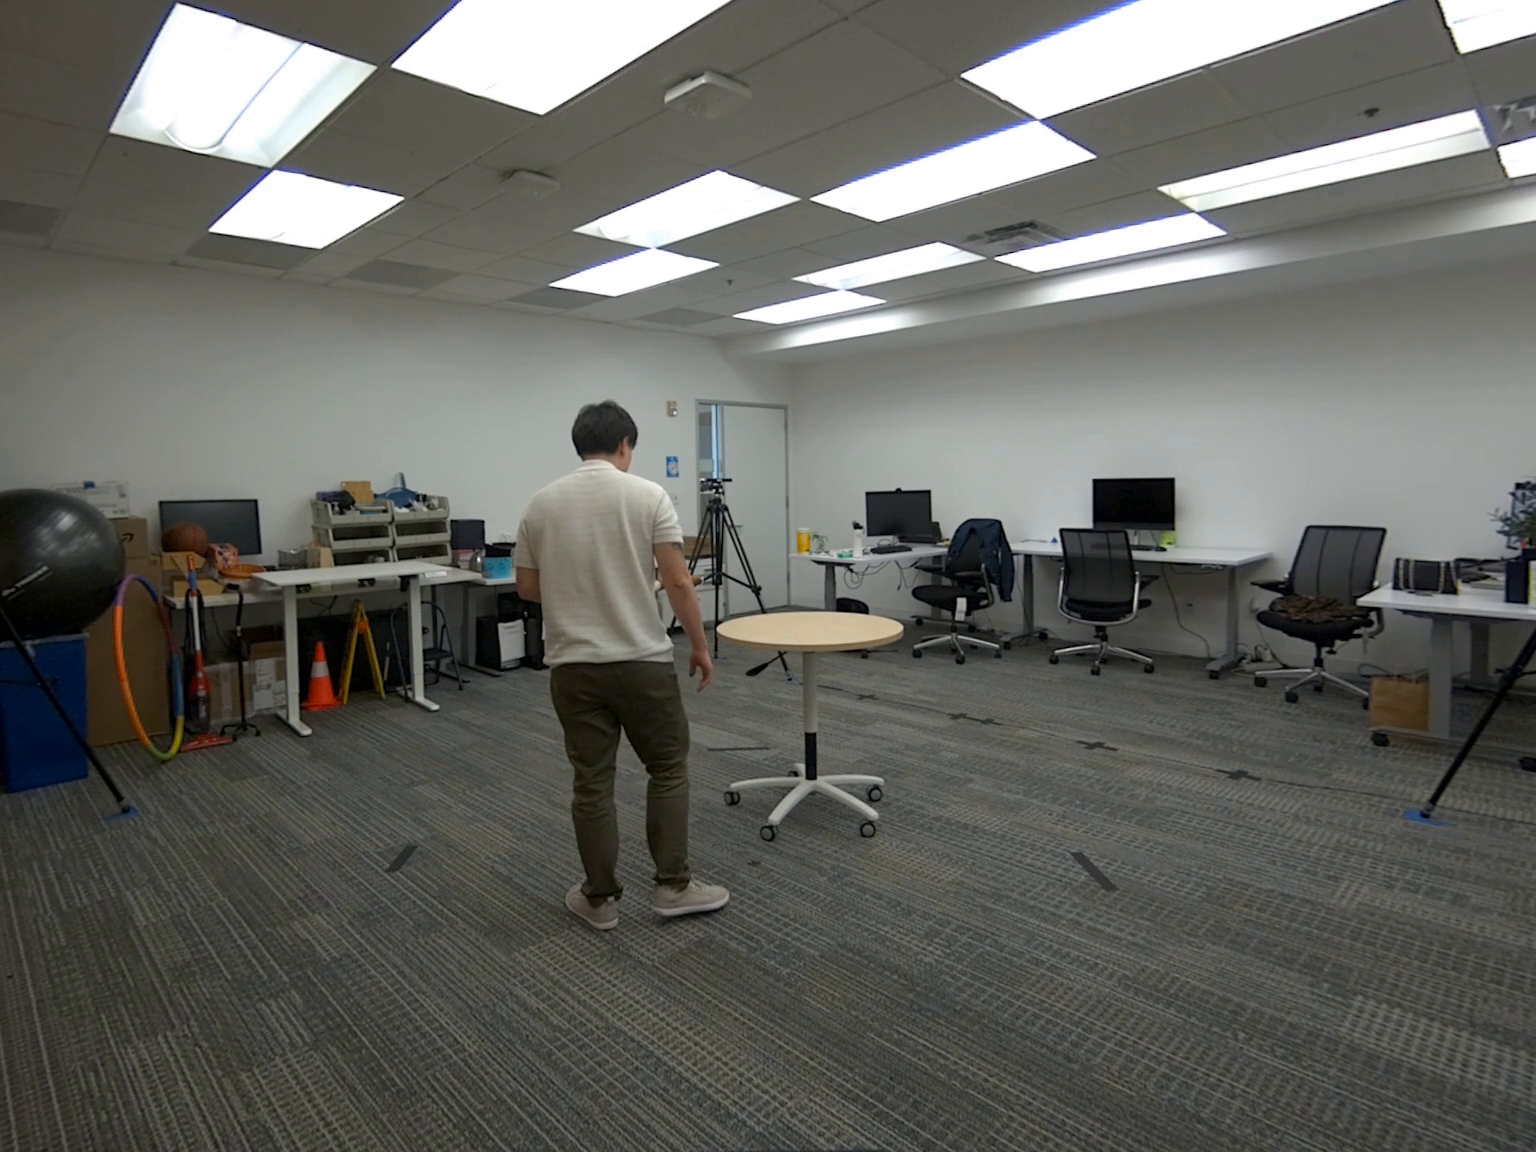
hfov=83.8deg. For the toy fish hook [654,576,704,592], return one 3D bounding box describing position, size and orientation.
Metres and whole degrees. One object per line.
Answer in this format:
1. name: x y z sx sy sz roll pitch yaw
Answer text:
1. toy fish hook: -0.470 0.022 3.160 0.494 0.047 0.233 -8 34 -41
